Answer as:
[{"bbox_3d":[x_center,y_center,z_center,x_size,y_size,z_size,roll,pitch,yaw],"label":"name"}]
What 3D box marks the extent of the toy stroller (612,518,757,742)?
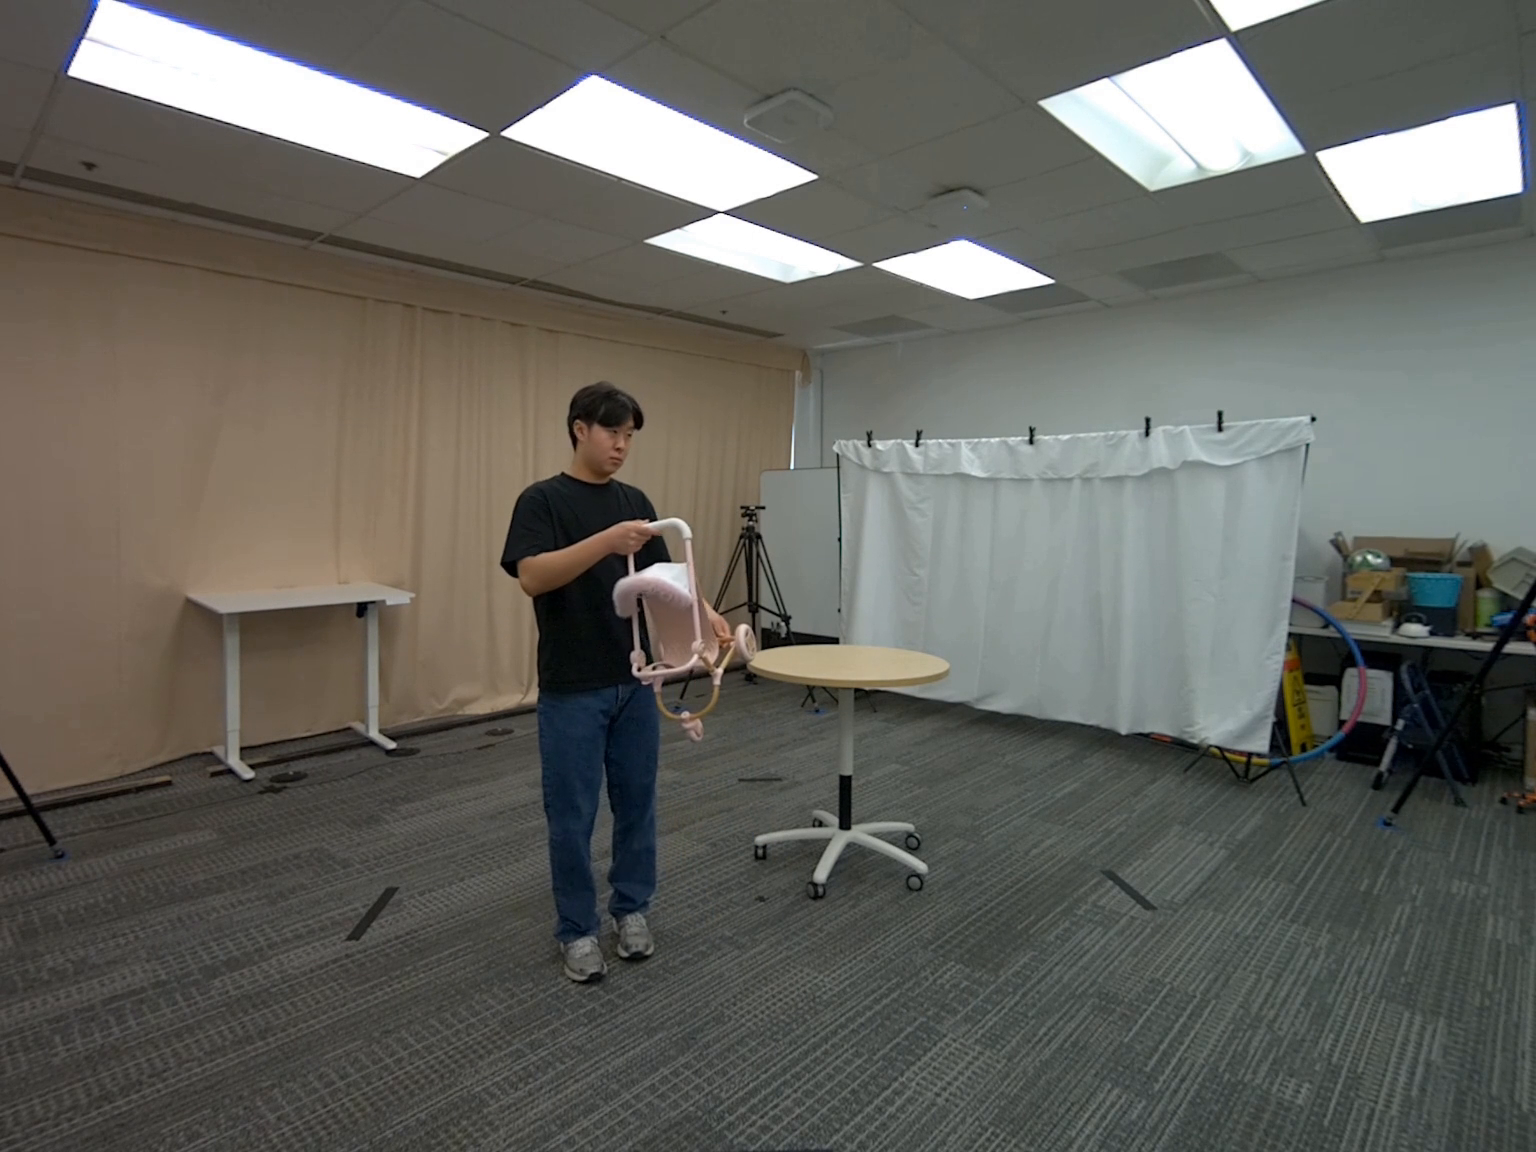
[{"bbox_3d":[-0.250,0.163,2.299,0.288,0.521,0.342,-8,33,27],"label":"toy stroller"}]
